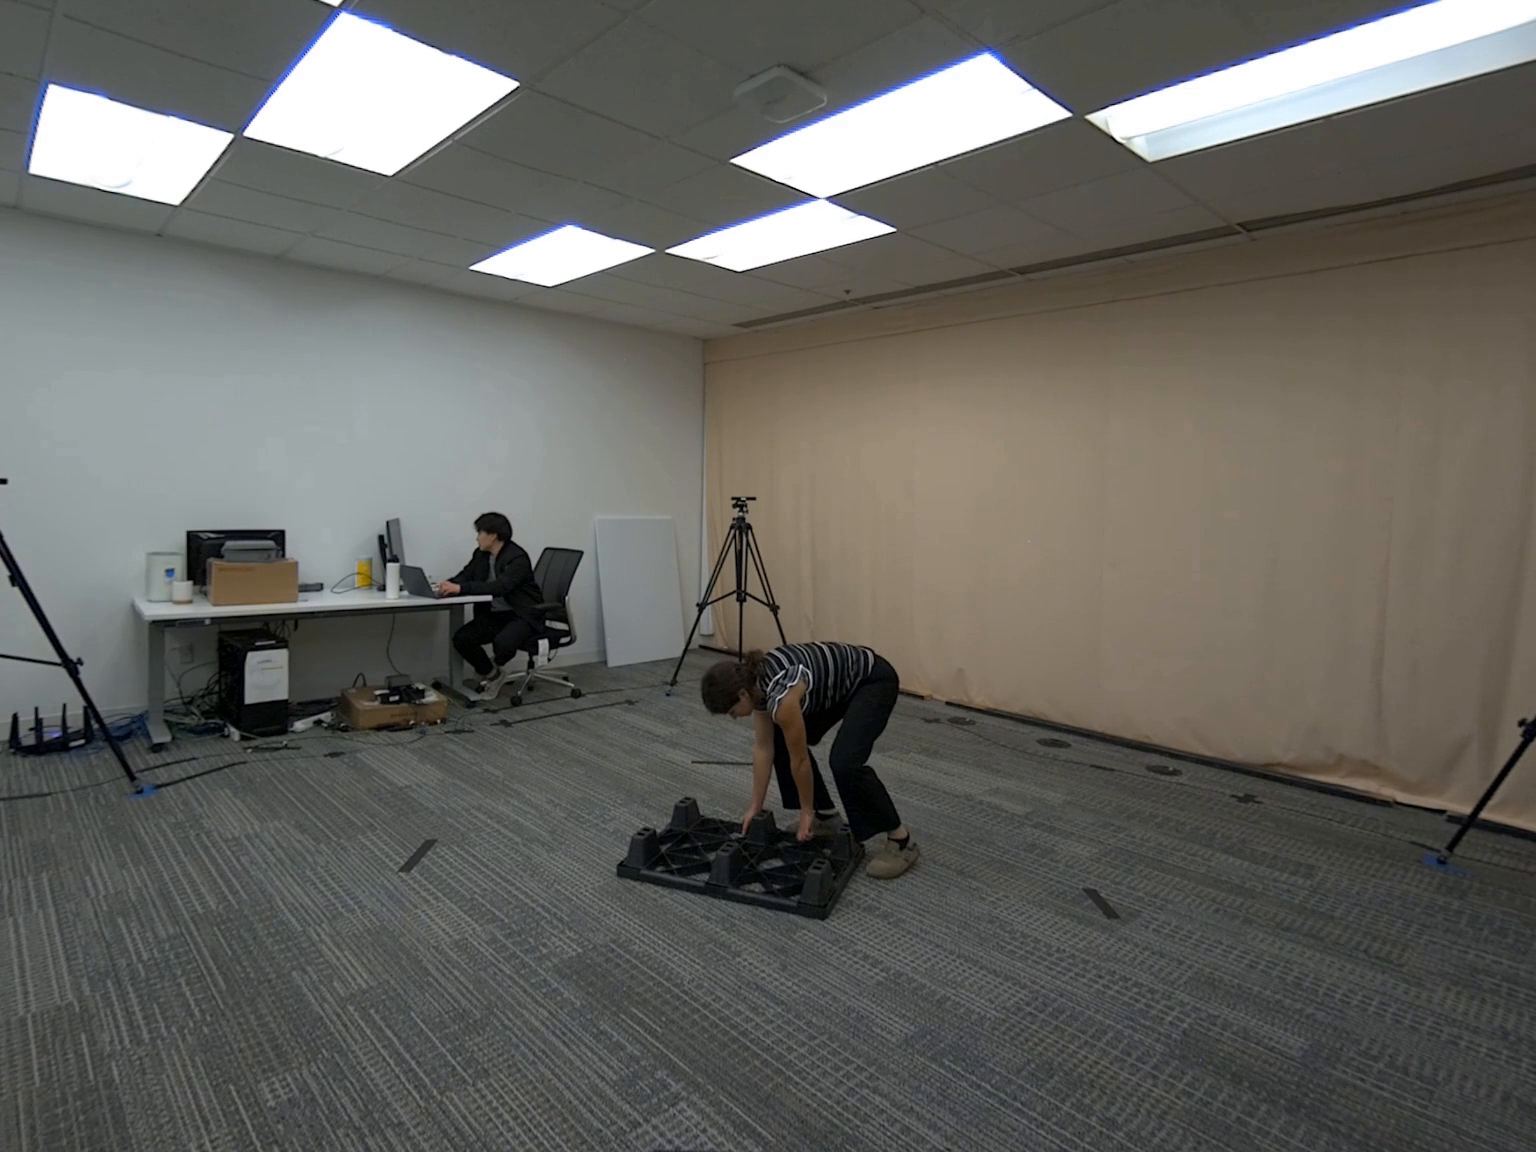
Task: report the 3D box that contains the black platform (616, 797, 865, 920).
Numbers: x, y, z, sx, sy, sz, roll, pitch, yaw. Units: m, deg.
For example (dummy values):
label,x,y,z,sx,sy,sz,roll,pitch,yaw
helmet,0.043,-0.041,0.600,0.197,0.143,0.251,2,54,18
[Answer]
label,x,y,z,sx,sy,sz,roll,pitch,yaw
black platform,-0.088,1.031,3.203,0.819,0.143,0.597,4,6,21
